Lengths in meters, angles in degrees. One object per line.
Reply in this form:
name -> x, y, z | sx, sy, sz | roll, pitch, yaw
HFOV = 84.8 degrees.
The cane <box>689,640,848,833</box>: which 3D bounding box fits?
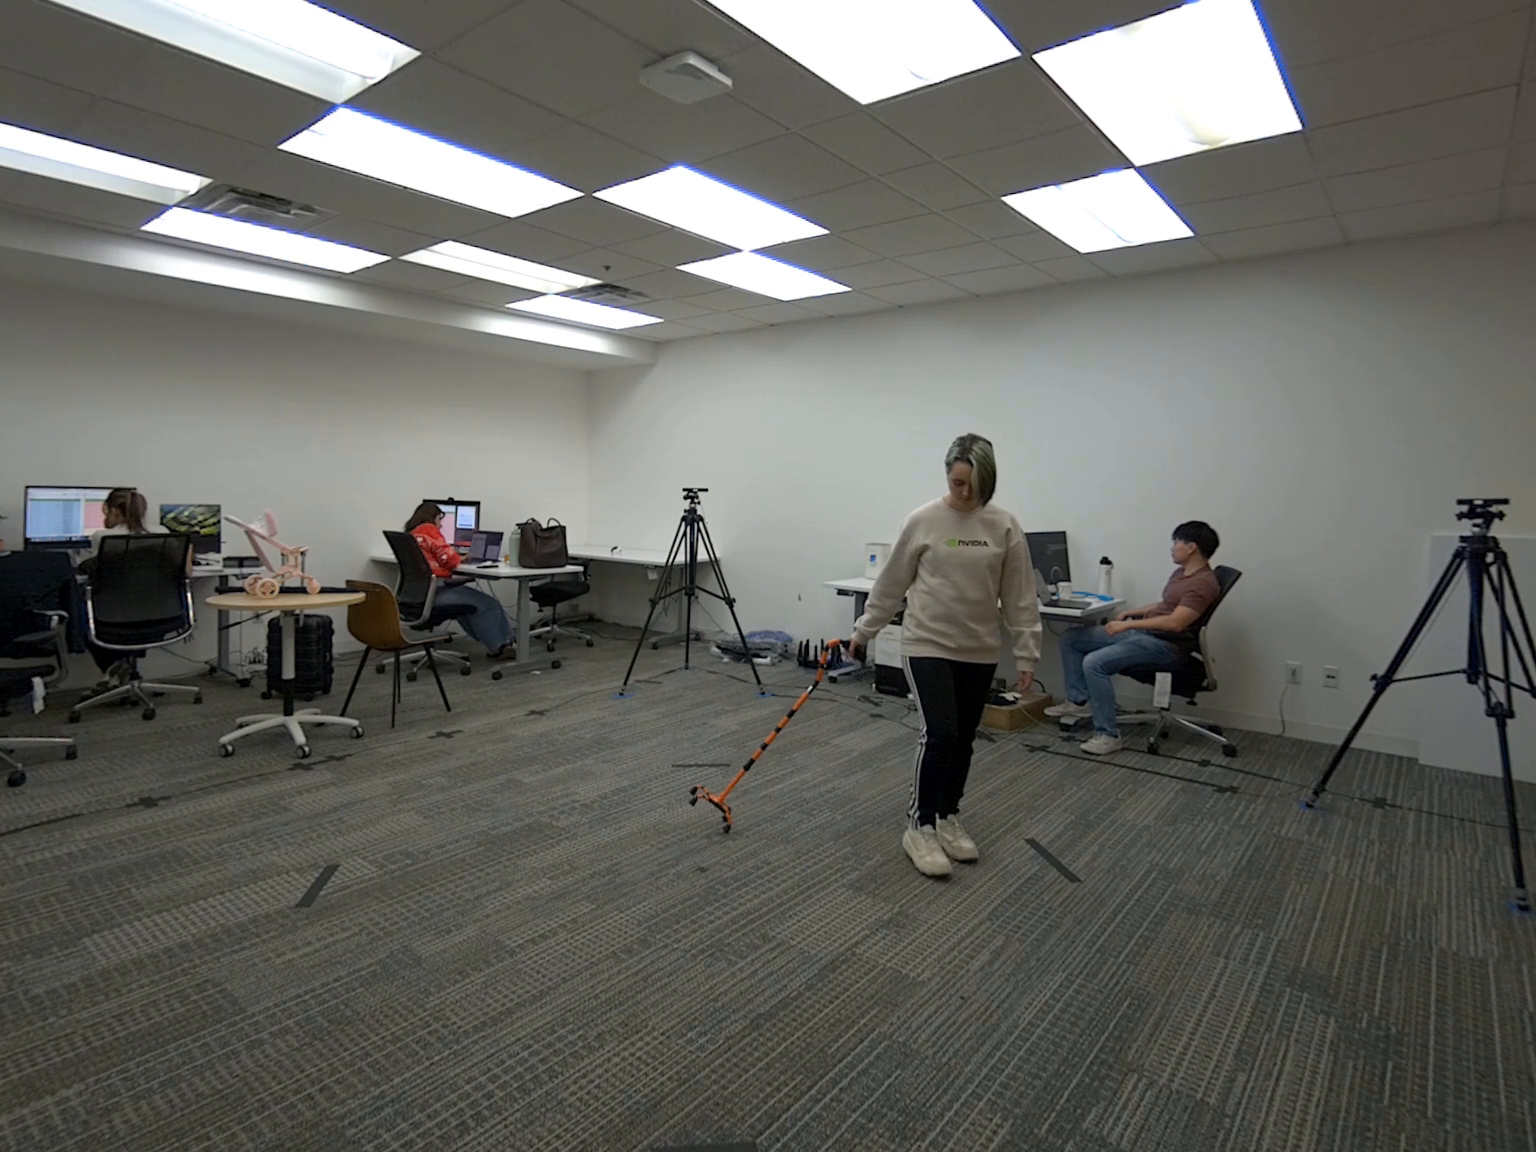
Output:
cane -> 0.027, 0.620, 3.492 | 0.205, 0.908, 0.153 | 39, 0, -5
